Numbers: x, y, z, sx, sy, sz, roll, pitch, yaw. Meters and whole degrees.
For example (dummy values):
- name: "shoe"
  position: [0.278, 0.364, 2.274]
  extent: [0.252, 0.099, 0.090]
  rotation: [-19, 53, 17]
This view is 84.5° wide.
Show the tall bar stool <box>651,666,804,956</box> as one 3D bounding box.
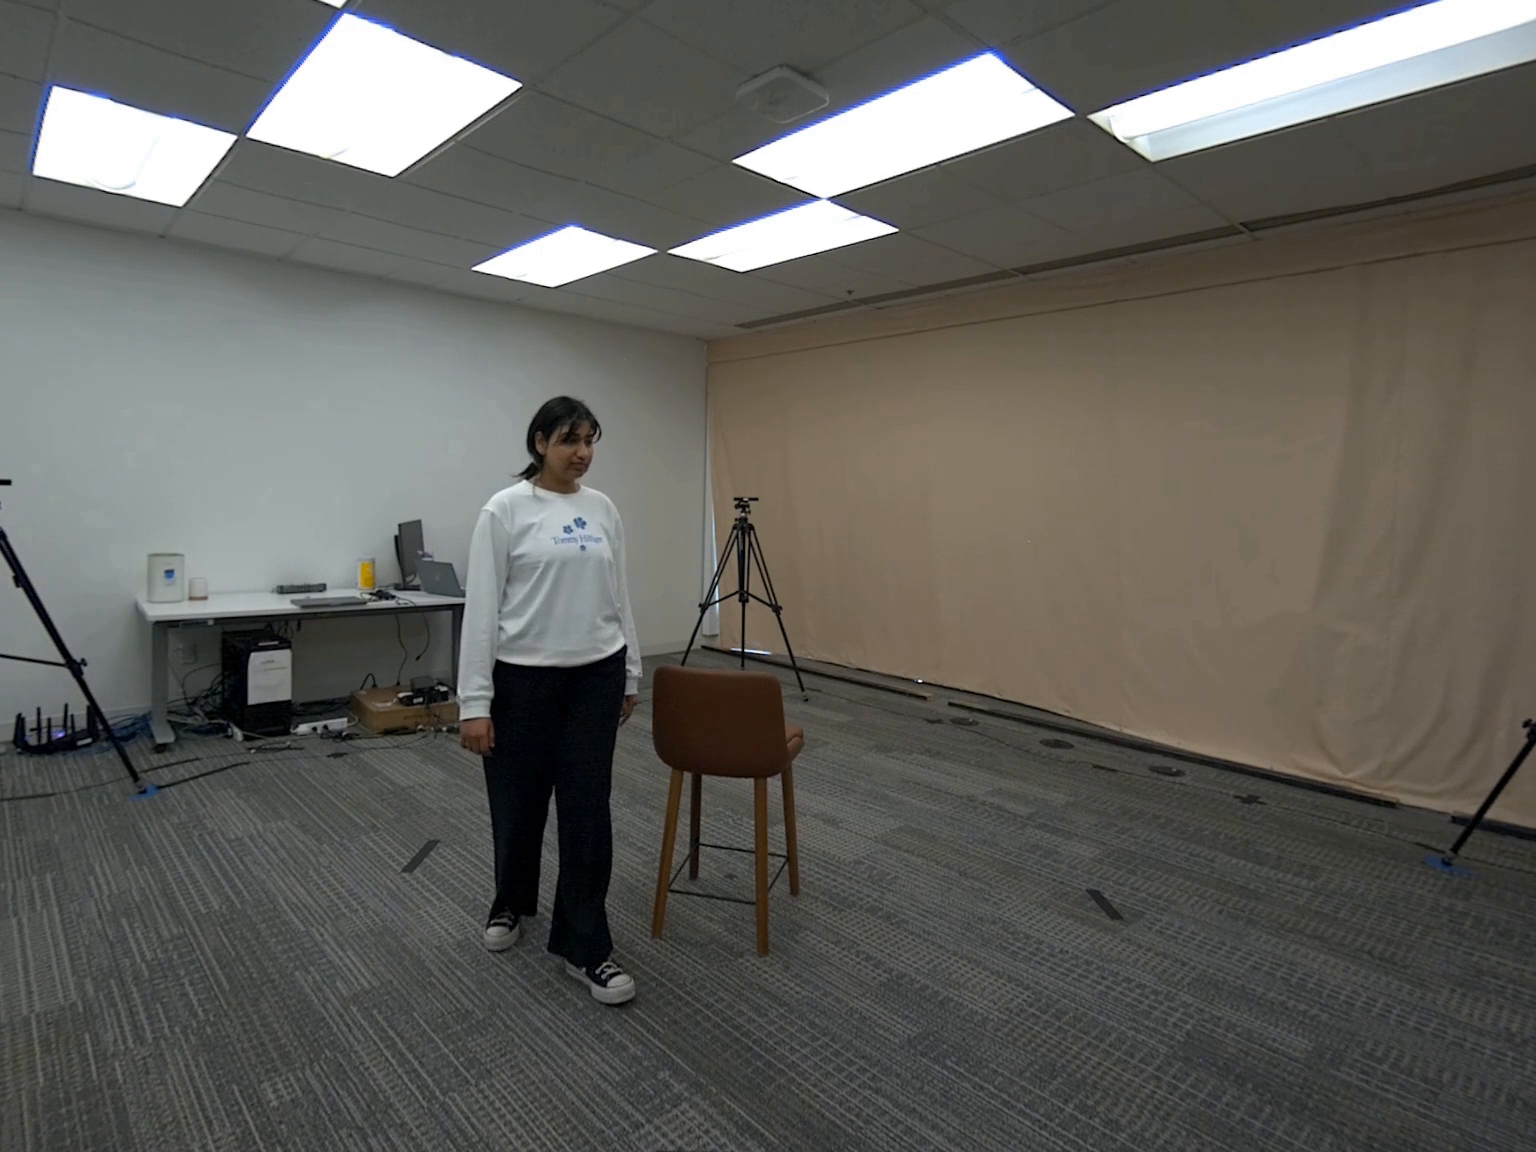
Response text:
- name: "tall bar stool"
  position: [-0.134, 0.702, 2.791]
  extent: [0.462, 0.886, 0.463]
  rotation: [2, 5, 15]
